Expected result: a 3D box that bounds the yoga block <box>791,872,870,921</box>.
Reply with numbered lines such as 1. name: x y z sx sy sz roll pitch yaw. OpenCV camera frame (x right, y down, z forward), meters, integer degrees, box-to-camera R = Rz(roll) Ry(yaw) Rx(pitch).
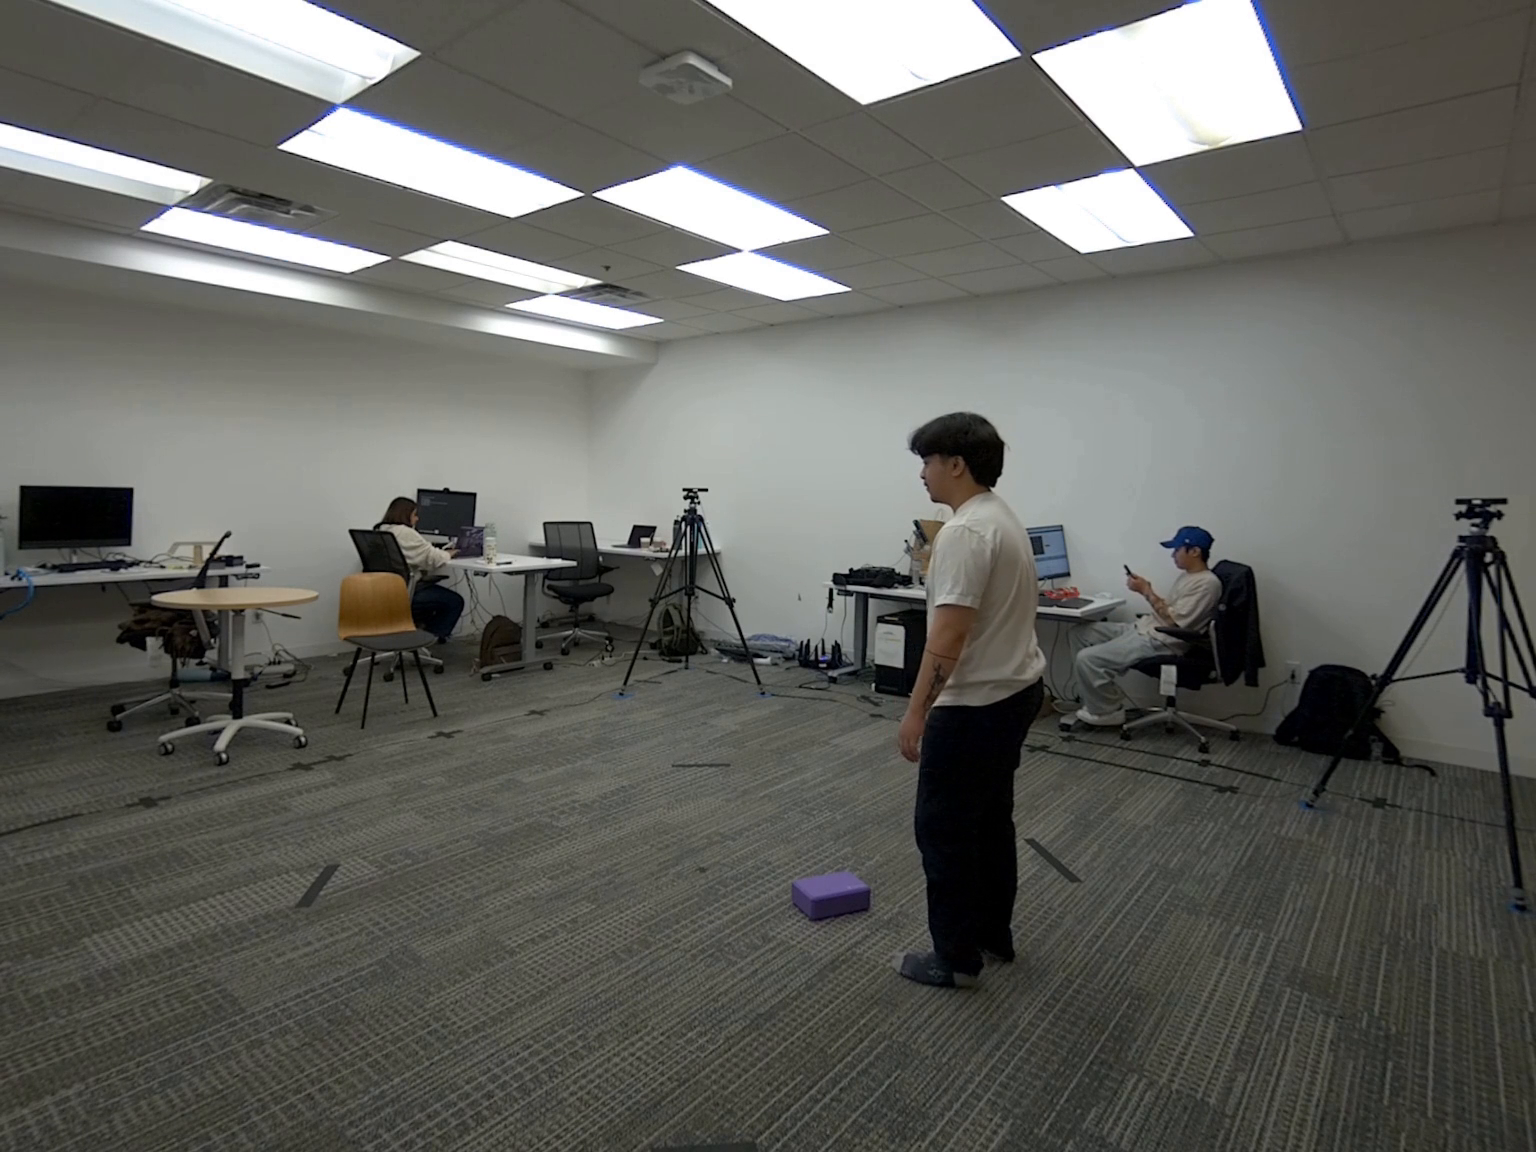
1. yoga block: 0.204 1.061 2.854 0.224 0.076 0.153 -1 5 -25
